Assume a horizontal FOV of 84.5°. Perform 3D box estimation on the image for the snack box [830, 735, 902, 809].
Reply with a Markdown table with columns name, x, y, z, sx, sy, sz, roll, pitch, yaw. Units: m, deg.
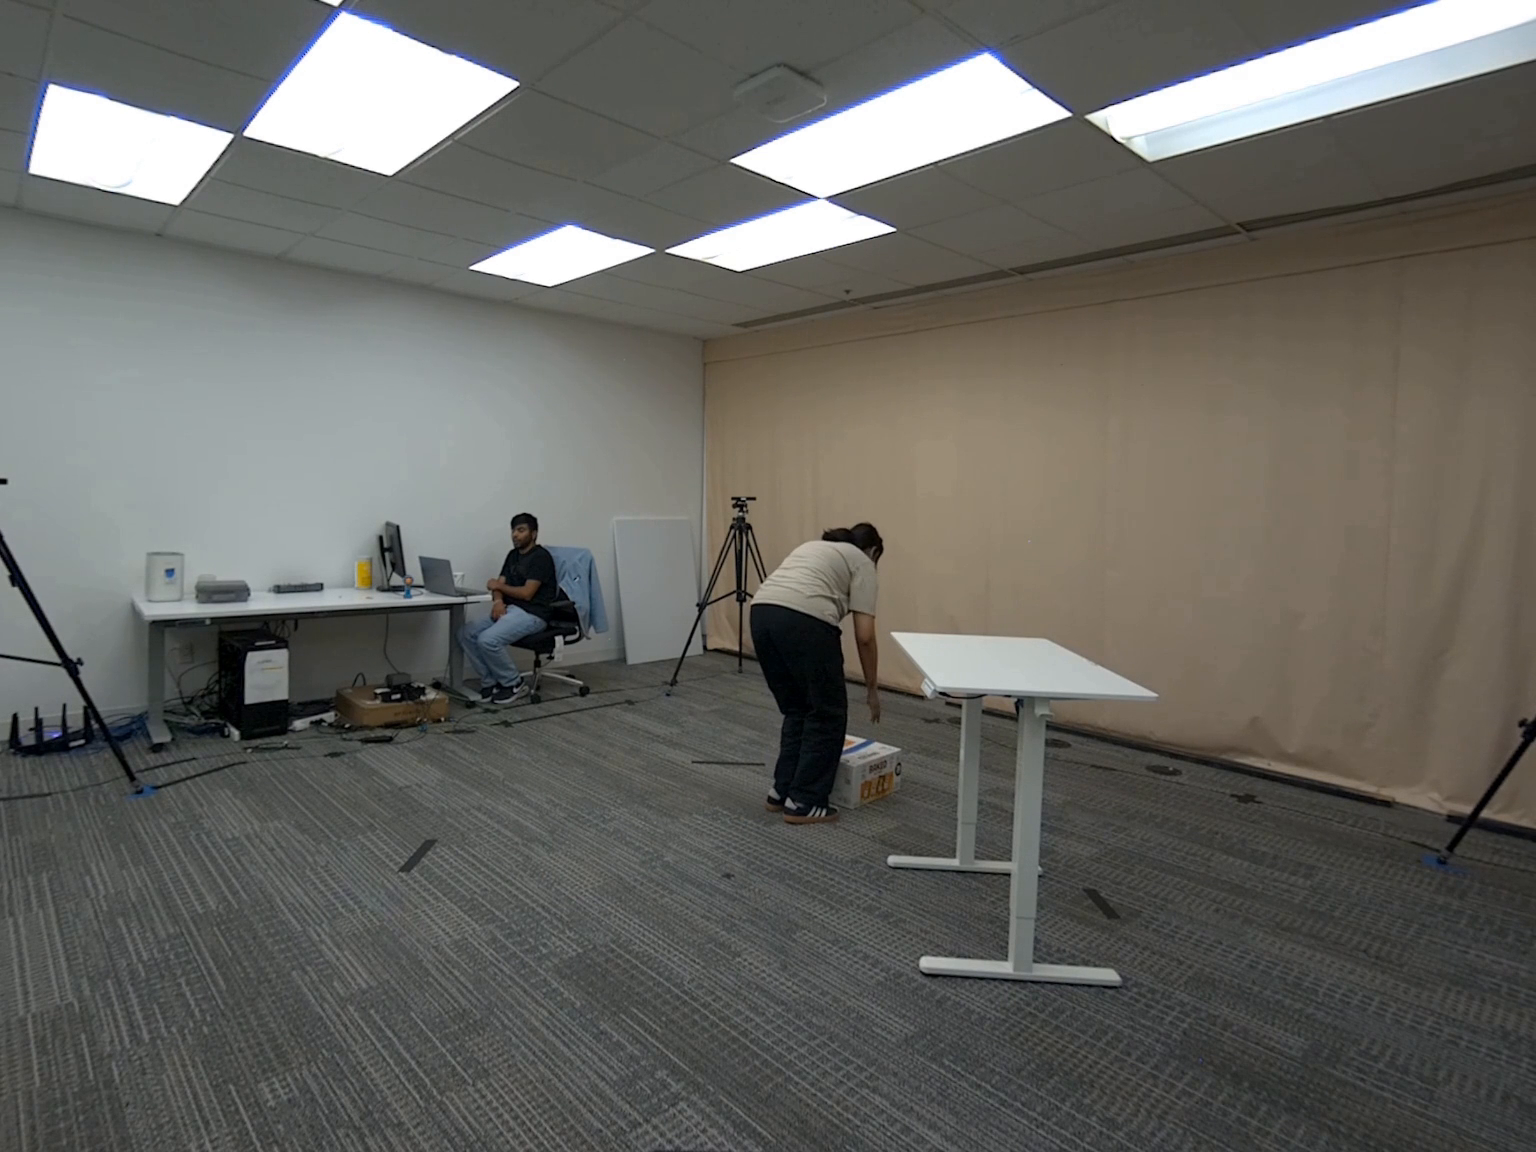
| name | x | y | z | sx | sy | sz | roll | pitch | yaw |
| --- | --- | --- | --- | --- | --- | --- | --- | --- | --- |
| snack box | 0.378 | 0.937 | 4.066 | 0.349 | 0.205 | 0.396 | 5 | 6 | 42 |
